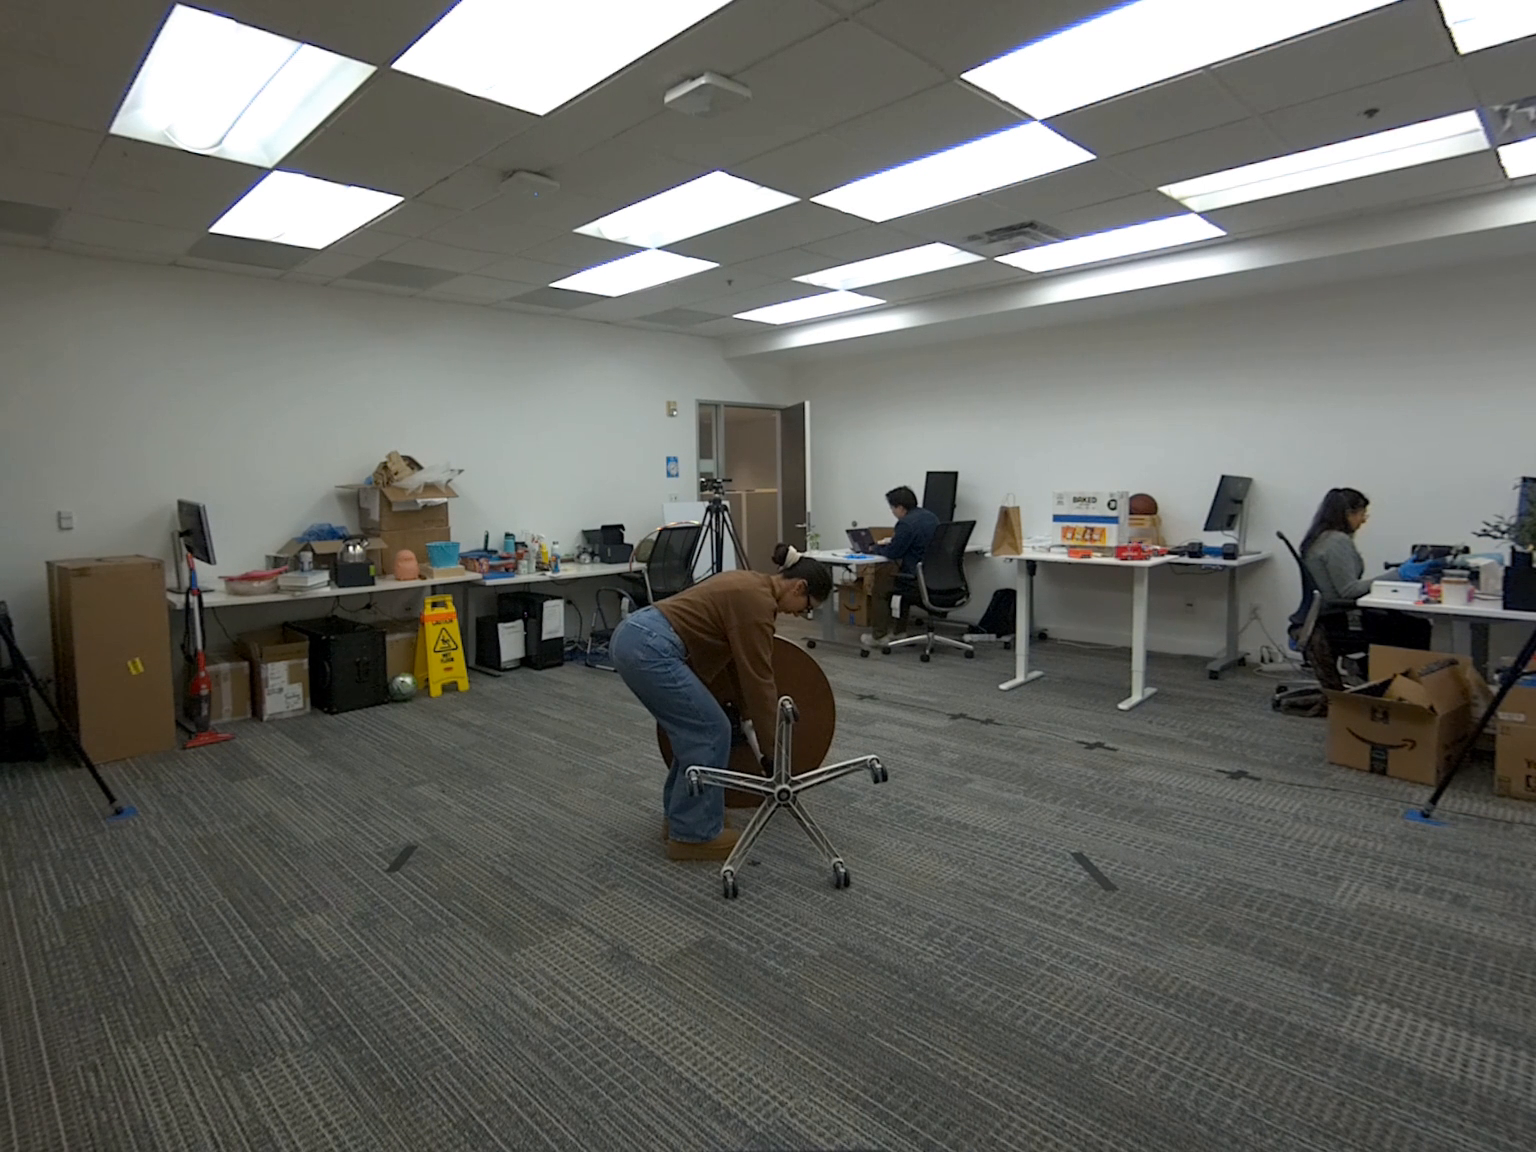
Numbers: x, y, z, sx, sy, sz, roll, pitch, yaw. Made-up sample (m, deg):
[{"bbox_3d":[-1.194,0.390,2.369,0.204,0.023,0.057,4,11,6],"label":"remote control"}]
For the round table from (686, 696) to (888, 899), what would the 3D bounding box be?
[{"bbox_3d":[-0.018,0.691,3.205,0.757,0.757,0.809,-2,11,-10],"label":"round table"}]
